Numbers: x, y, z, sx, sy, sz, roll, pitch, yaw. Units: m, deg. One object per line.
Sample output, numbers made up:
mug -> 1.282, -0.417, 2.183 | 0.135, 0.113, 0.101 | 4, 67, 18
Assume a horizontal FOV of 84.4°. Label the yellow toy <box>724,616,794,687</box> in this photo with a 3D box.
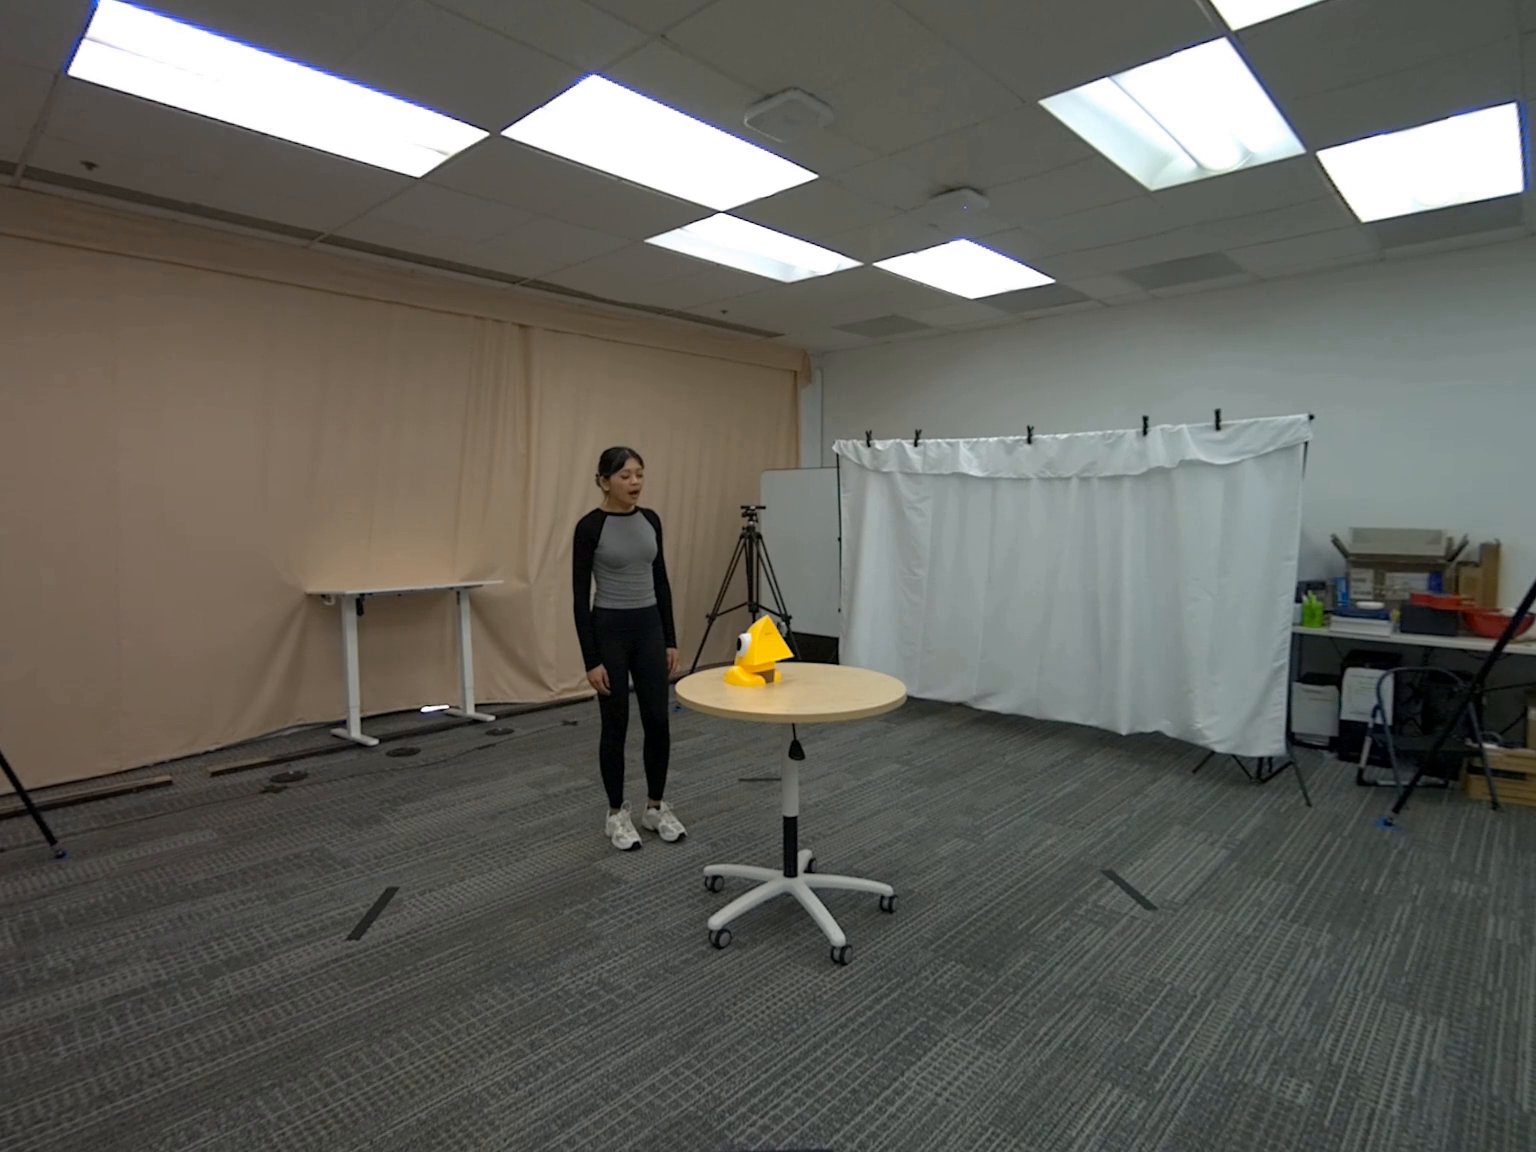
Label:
yellow toy -> -0.043, 0.245, 2.897 | 0.199, 0.230, 0.198 | 3, 6, 41
